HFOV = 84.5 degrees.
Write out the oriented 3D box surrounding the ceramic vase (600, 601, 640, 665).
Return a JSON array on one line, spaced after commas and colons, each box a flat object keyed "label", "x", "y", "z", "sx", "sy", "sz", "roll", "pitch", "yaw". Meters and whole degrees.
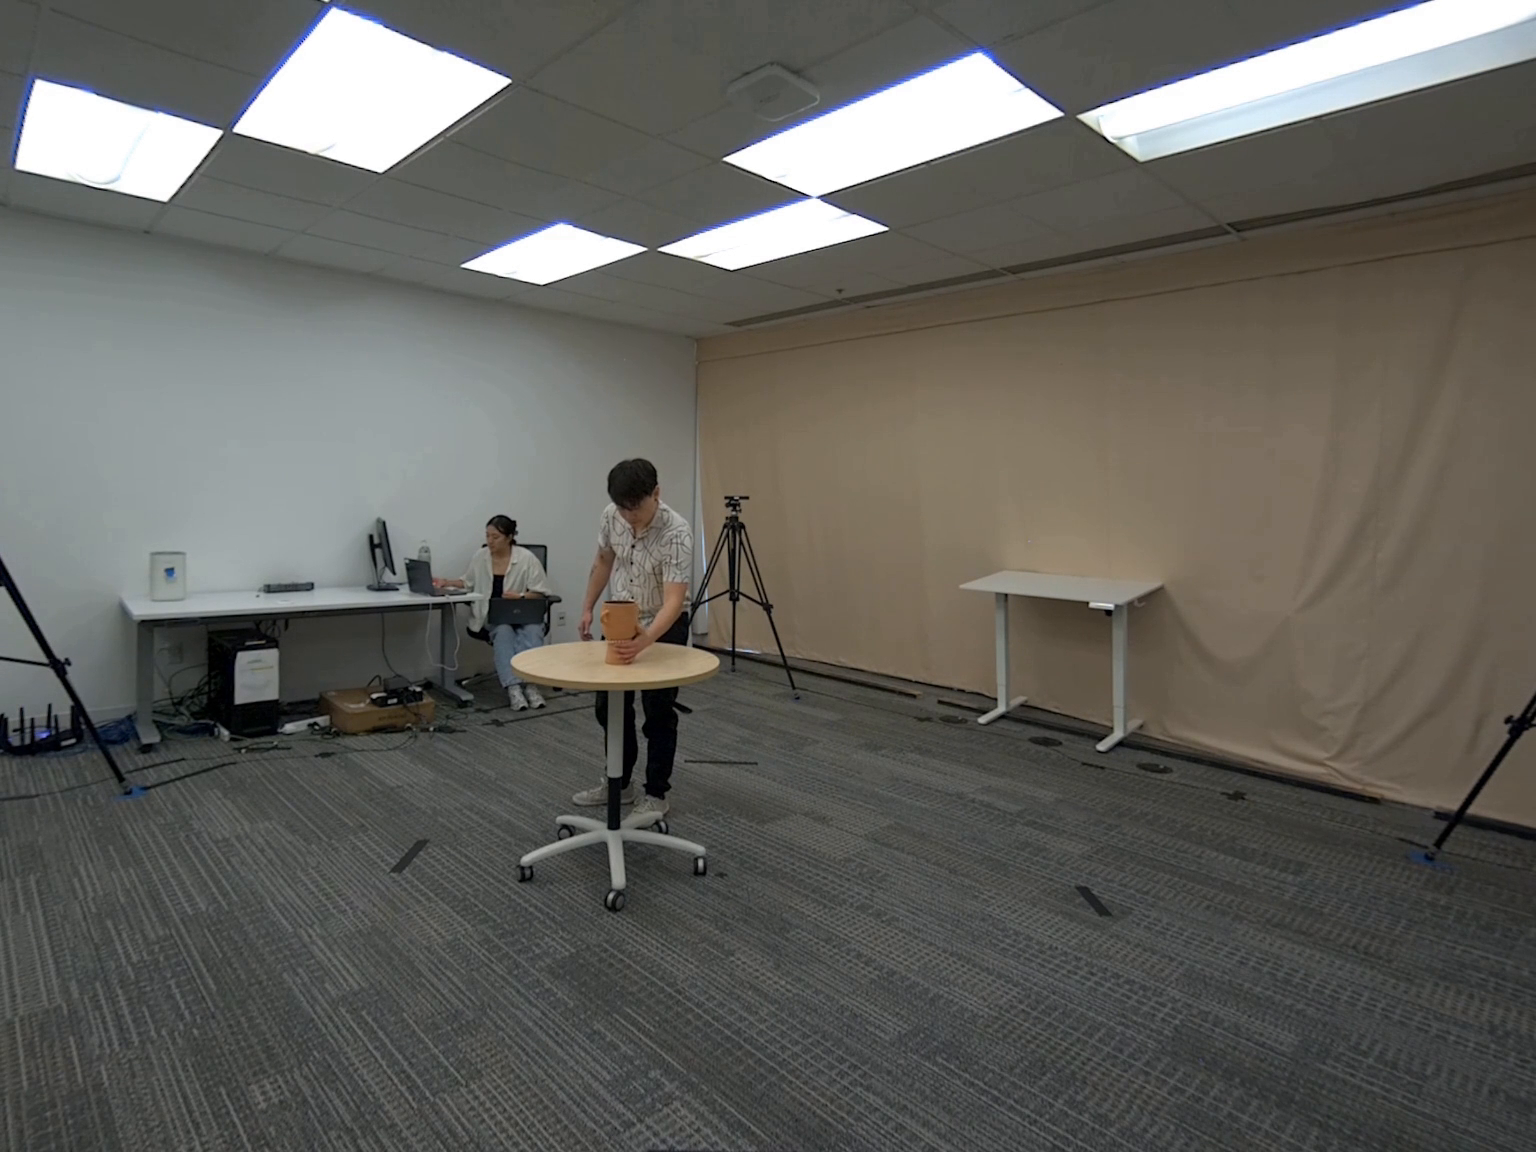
[{"label": "ceramic vase", "x": -0.558, "y": 0.206, "z": 3.064, "sx": 0.156, "sy": 0.219, "sz": 0.137, "roll": 0, "pitch": 4, "yaw": -21}]
